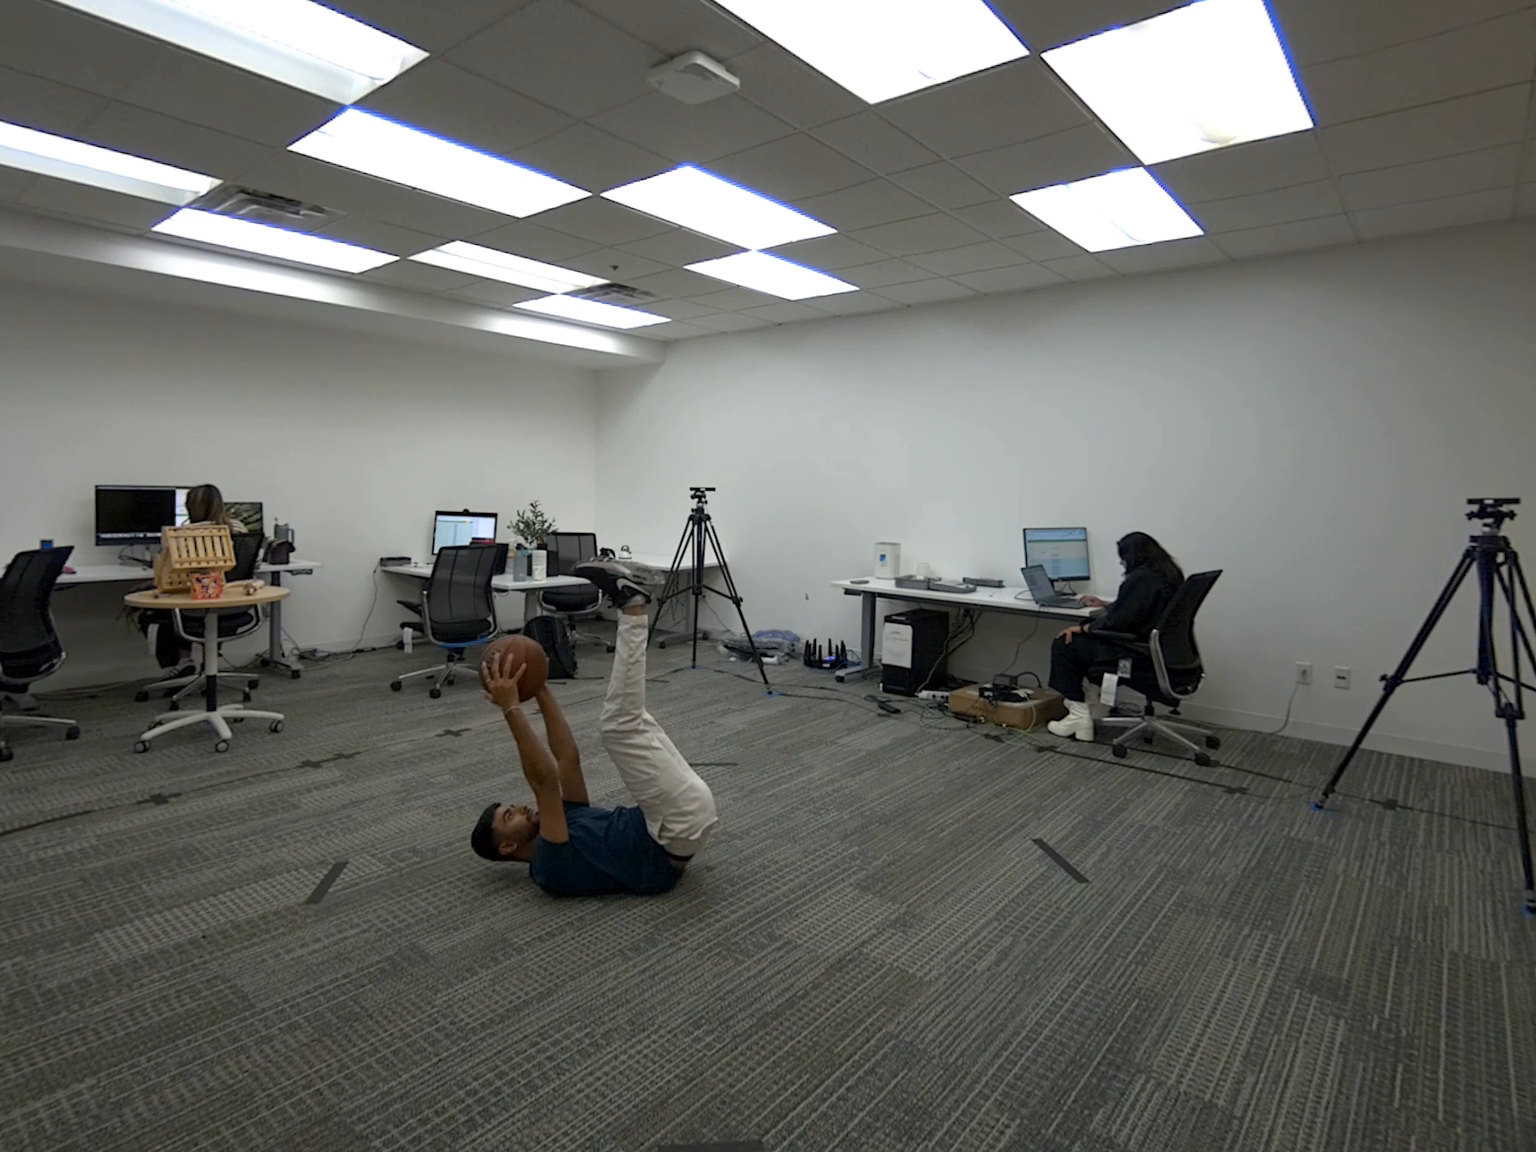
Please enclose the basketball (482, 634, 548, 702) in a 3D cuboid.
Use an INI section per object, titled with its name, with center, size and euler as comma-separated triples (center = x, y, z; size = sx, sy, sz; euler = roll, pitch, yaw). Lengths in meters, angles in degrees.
[basketball]
center = -0.871, 0.316, 2.974
size = 0.235, 0.235, 0.237
euler = 1, 4, -2
